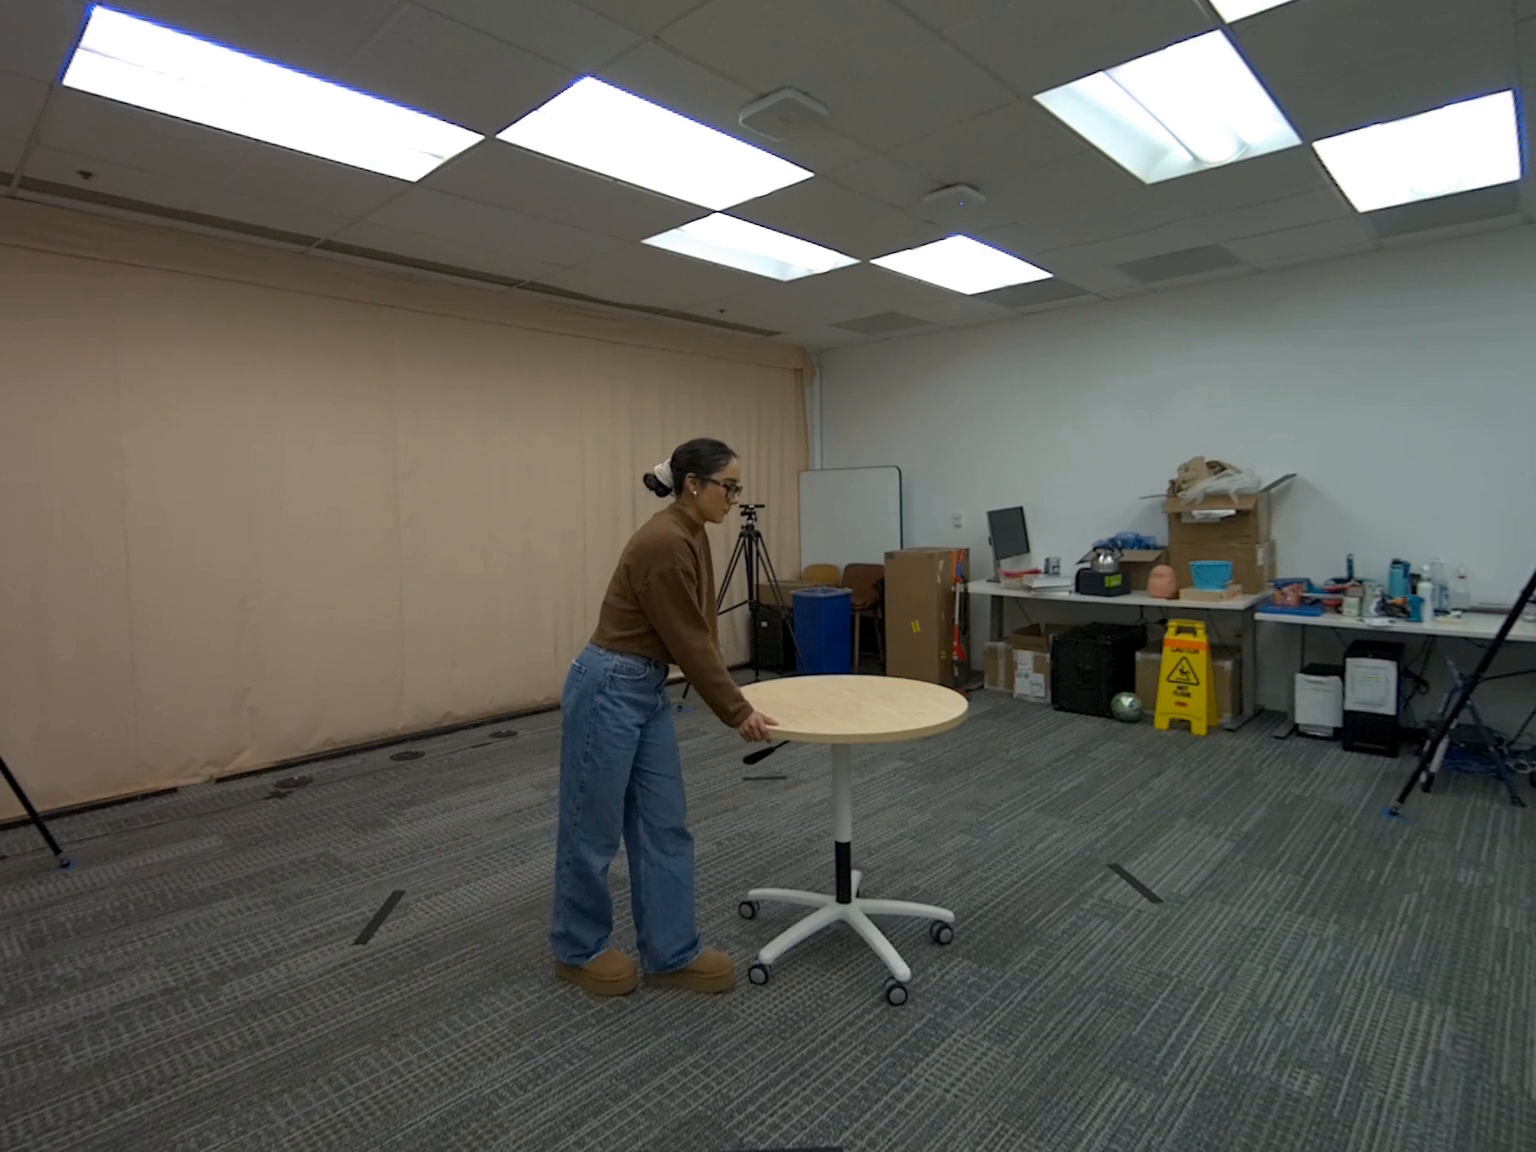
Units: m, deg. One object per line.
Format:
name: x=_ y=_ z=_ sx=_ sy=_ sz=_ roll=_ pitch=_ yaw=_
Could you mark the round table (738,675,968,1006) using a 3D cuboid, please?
round table: x=0.232 y=0.778 z=2.637 sx=0.763 sy=0.792 sz=0.766 roll=-1 pitch=3 yaw=-2
